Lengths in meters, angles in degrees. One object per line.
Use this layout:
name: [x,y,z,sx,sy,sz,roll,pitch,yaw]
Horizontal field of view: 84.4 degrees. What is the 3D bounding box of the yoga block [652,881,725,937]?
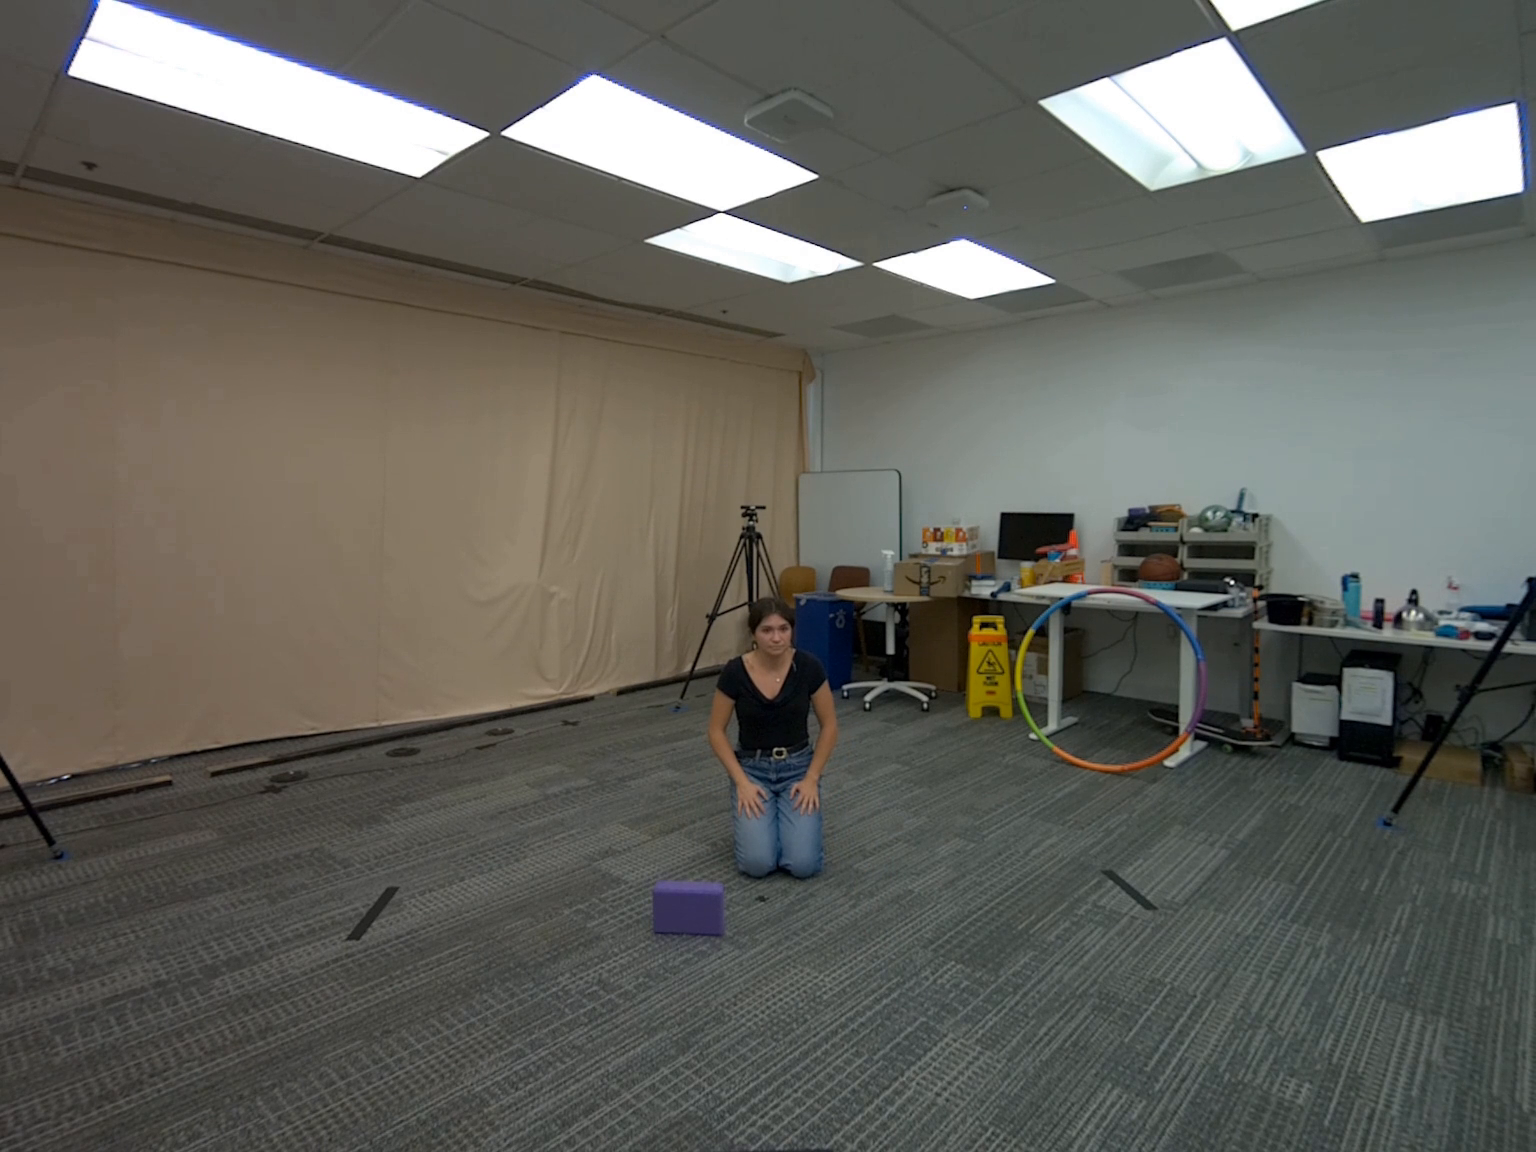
yoga block: [-0.251,1.087,2.761,0.231,0.148,0.076,1,4,6]
